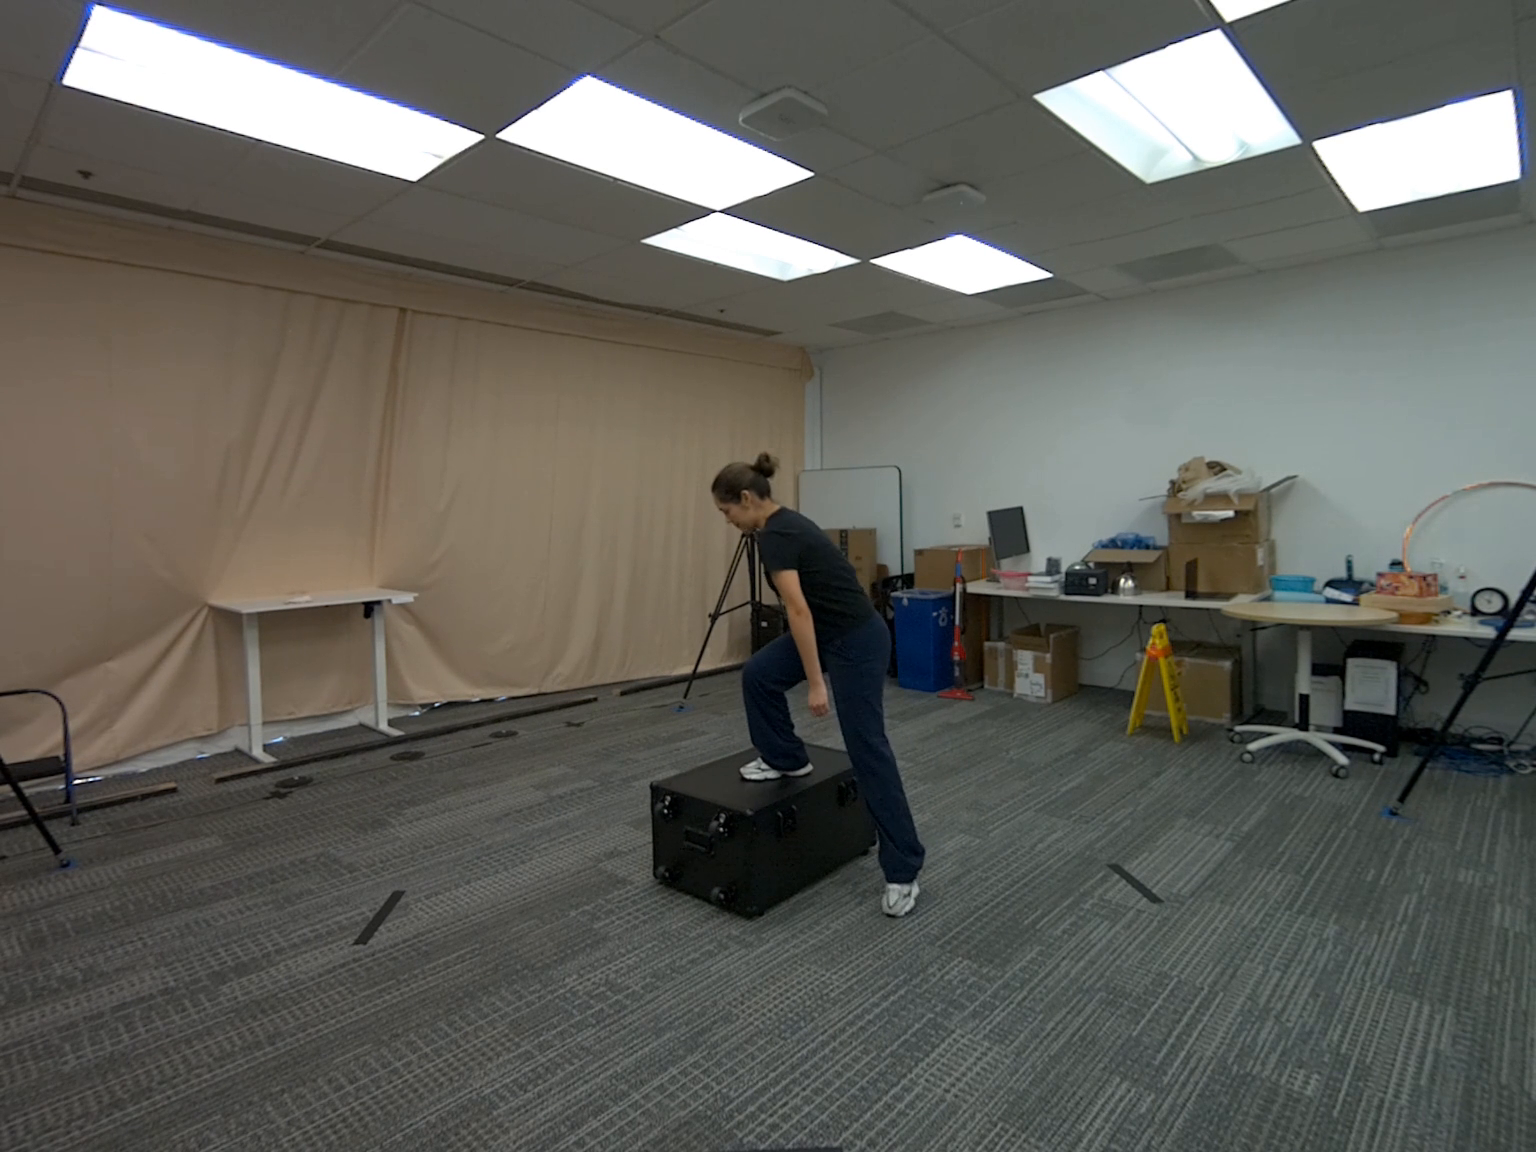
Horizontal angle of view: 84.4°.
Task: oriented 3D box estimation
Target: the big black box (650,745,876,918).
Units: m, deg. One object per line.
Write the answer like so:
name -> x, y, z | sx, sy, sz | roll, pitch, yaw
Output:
big black box -> -0.008, 0.931, 3.212 | 0.538, 0.395, 0.836 | 2, 5, 40
